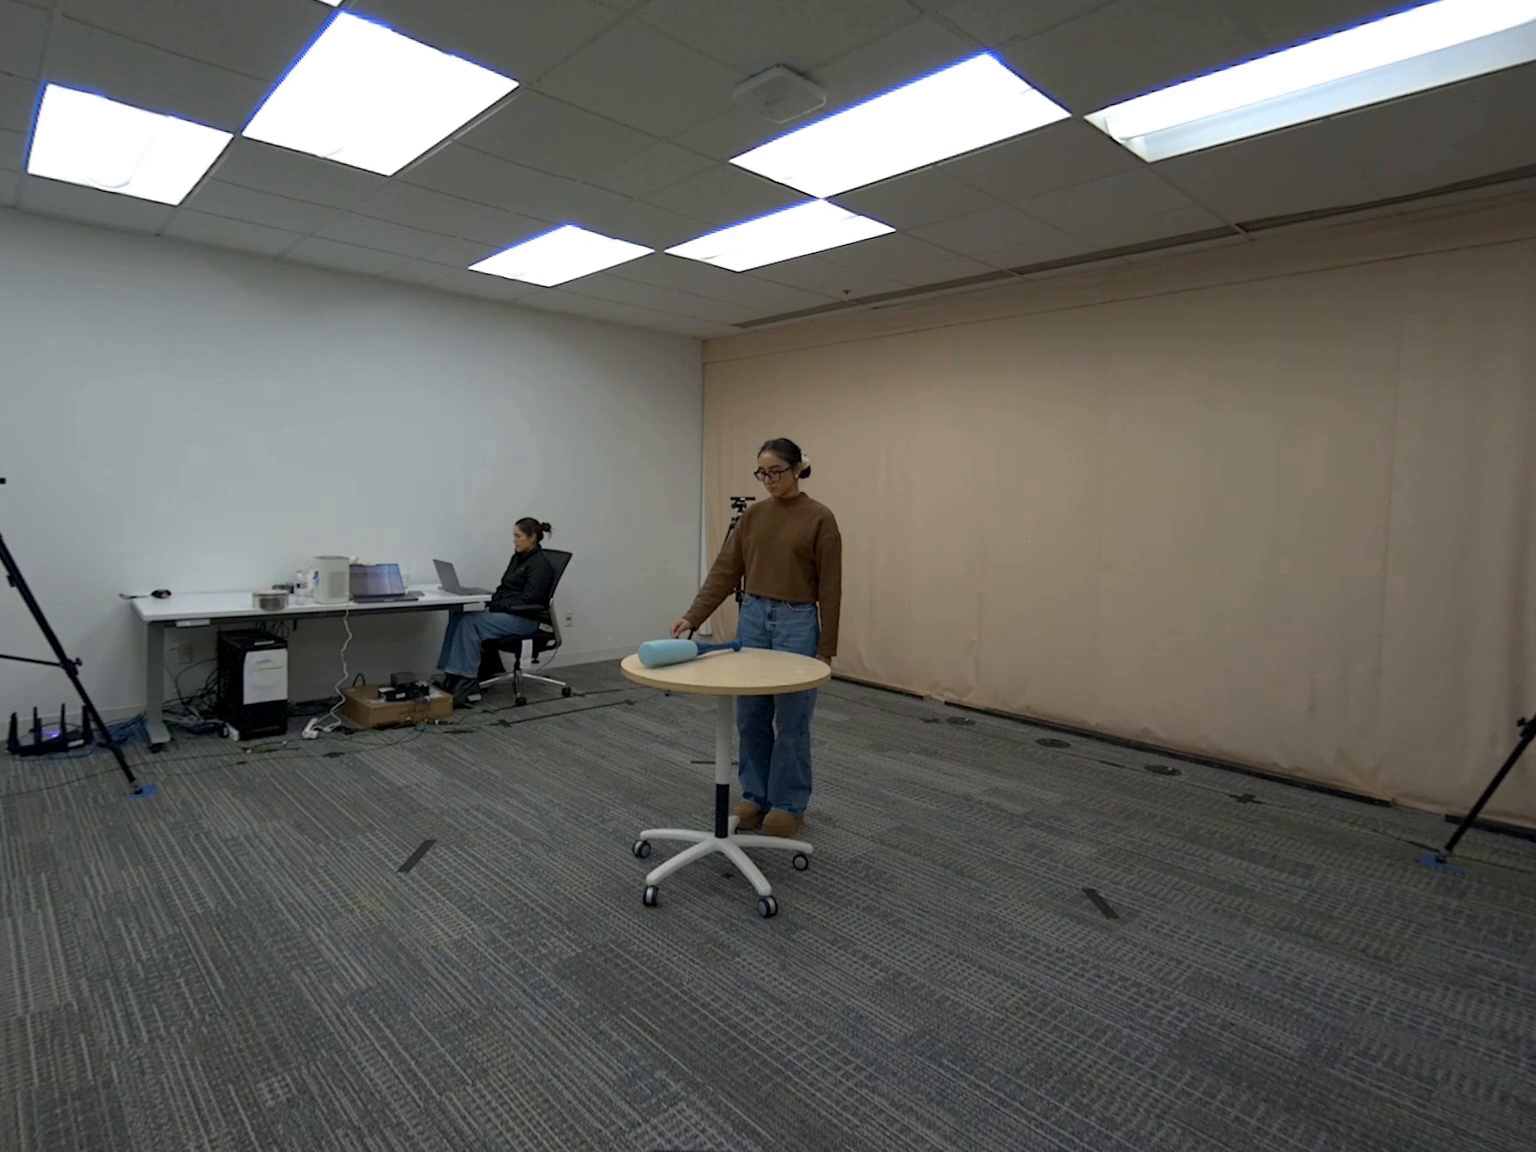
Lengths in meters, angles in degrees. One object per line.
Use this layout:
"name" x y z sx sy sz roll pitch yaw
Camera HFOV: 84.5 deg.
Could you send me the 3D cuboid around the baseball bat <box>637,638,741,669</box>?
"baseball bat" -0.286 0.279 3.167 0.091 0.089 0.530 4 2 35
